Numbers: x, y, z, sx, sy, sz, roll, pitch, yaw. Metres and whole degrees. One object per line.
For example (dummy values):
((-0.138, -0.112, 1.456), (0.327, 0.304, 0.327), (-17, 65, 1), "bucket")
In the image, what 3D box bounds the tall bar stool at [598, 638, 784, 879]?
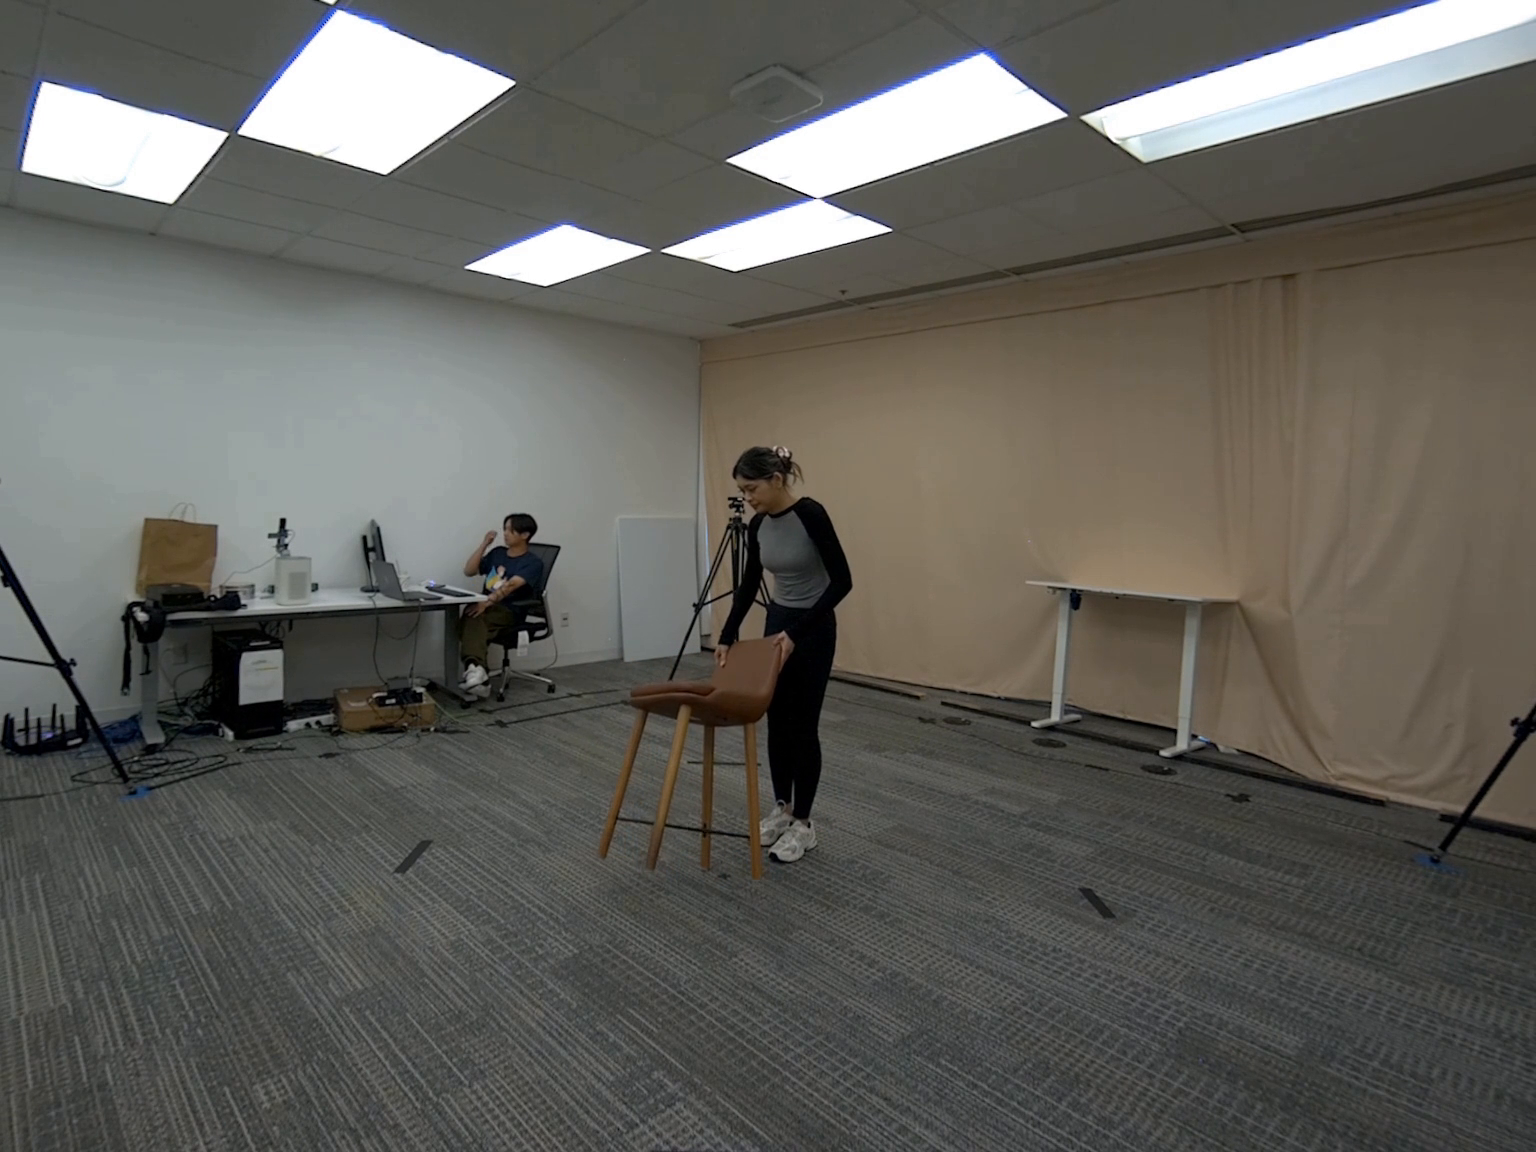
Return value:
((-0.259, 0.605, 3.042), (0.456, 0.899, 0.463), (19, -21, -29), "tall bar stool")
